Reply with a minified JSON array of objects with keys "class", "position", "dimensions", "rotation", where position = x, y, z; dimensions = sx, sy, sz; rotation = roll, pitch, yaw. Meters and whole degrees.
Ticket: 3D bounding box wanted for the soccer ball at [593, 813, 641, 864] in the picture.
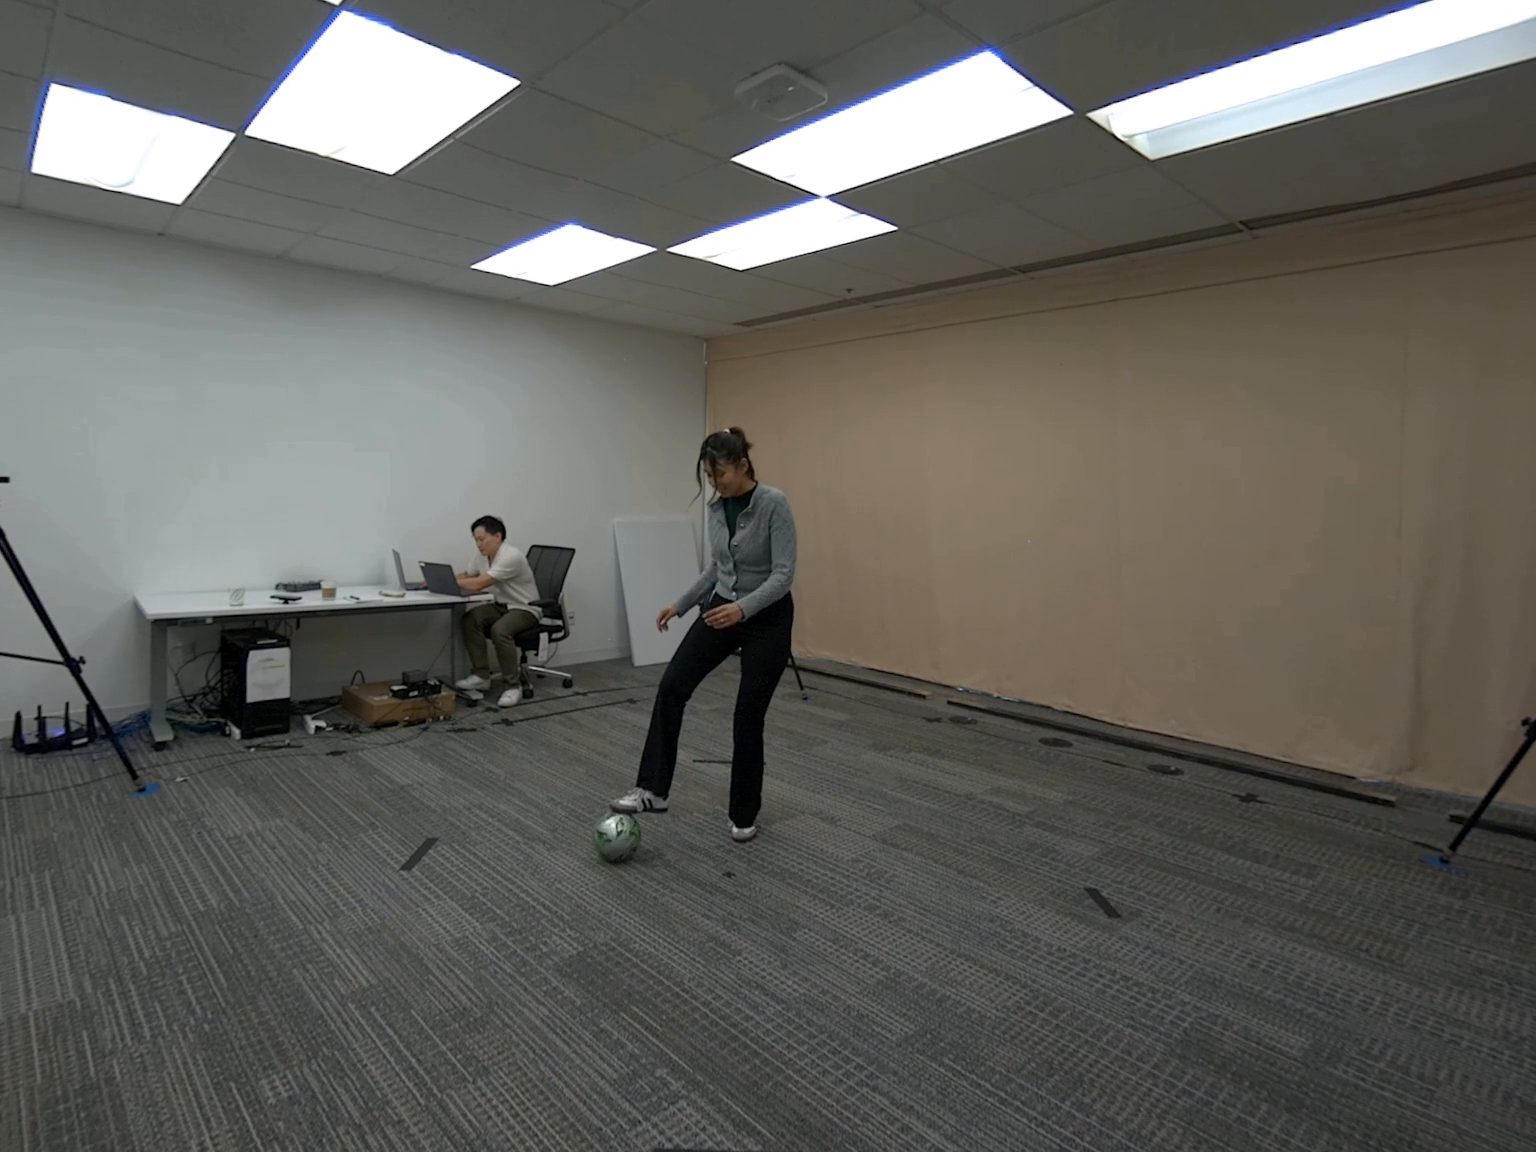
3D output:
[{"class":"soccer ball","position":[-0.579,0.992,3.196],"dimensions":[0.187,0.187,0.188],"rotation":[1,4,-1]}]
